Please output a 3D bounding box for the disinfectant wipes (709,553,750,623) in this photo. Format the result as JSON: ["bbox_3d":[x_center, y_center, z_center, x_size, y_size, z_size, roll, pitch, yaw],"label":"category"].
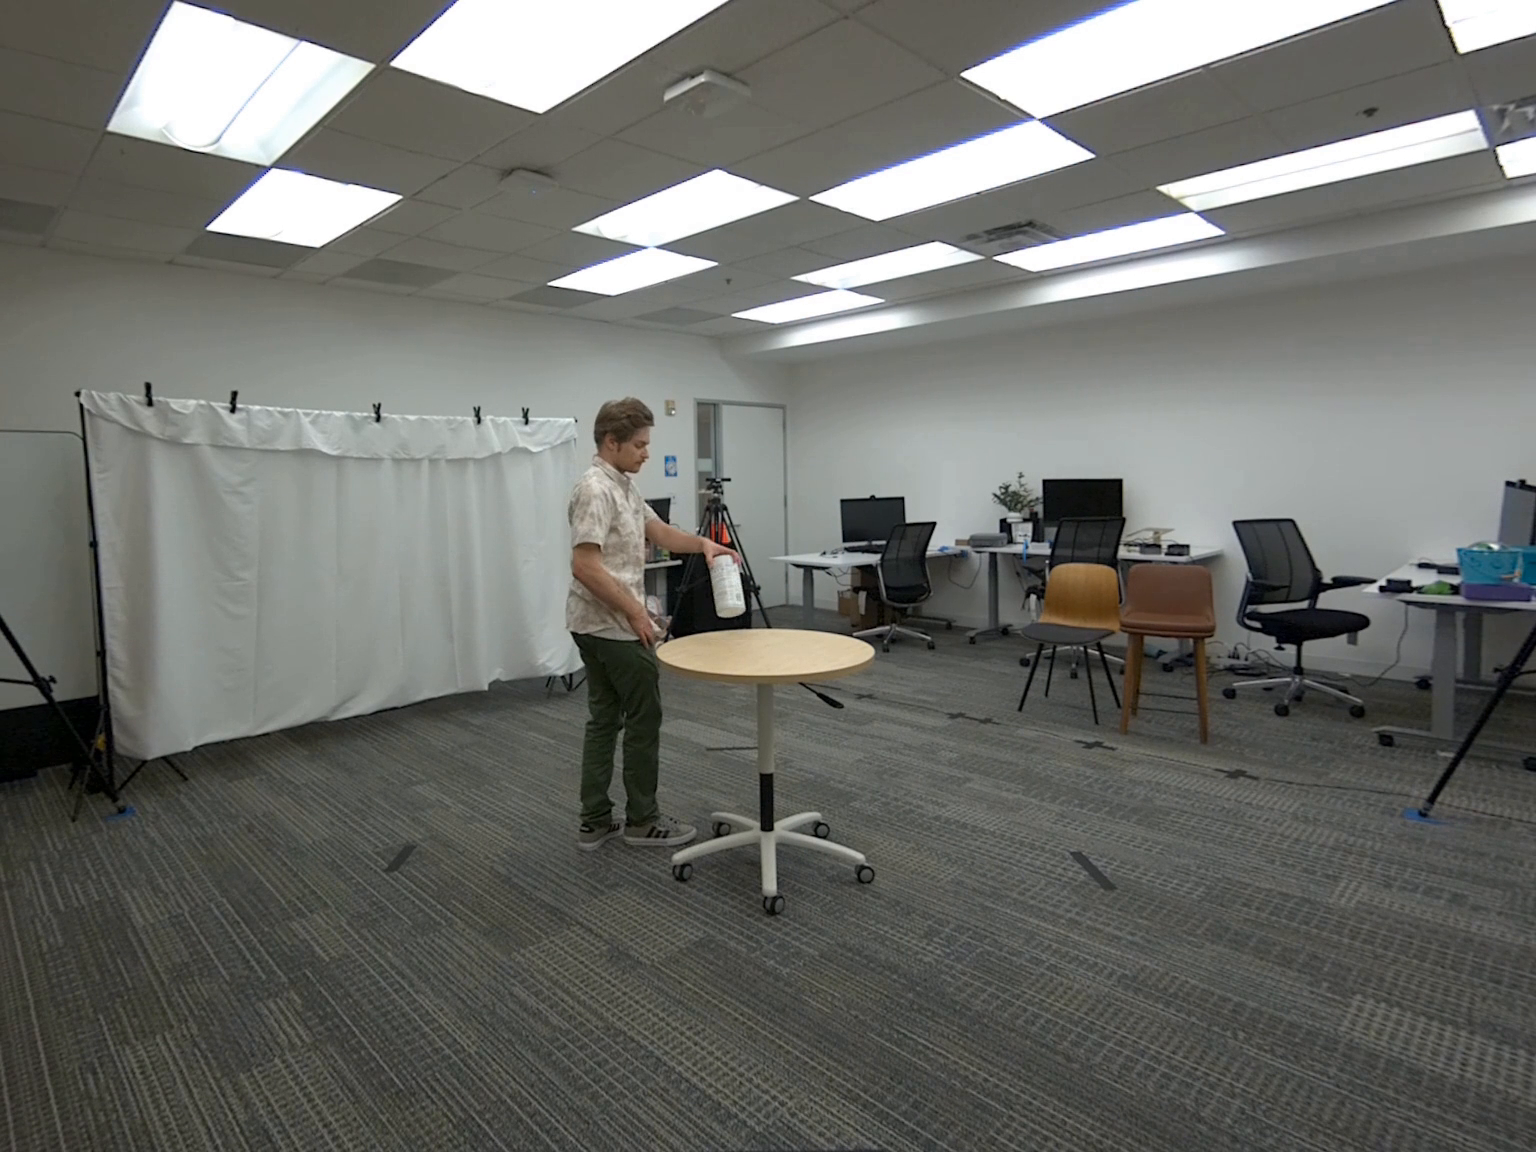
[{"bbox_3d":[-0.148,0.044,3.222,0.117,0.222,0.116,-9,-19,-4],"label":"disinfectant wipes"}]
